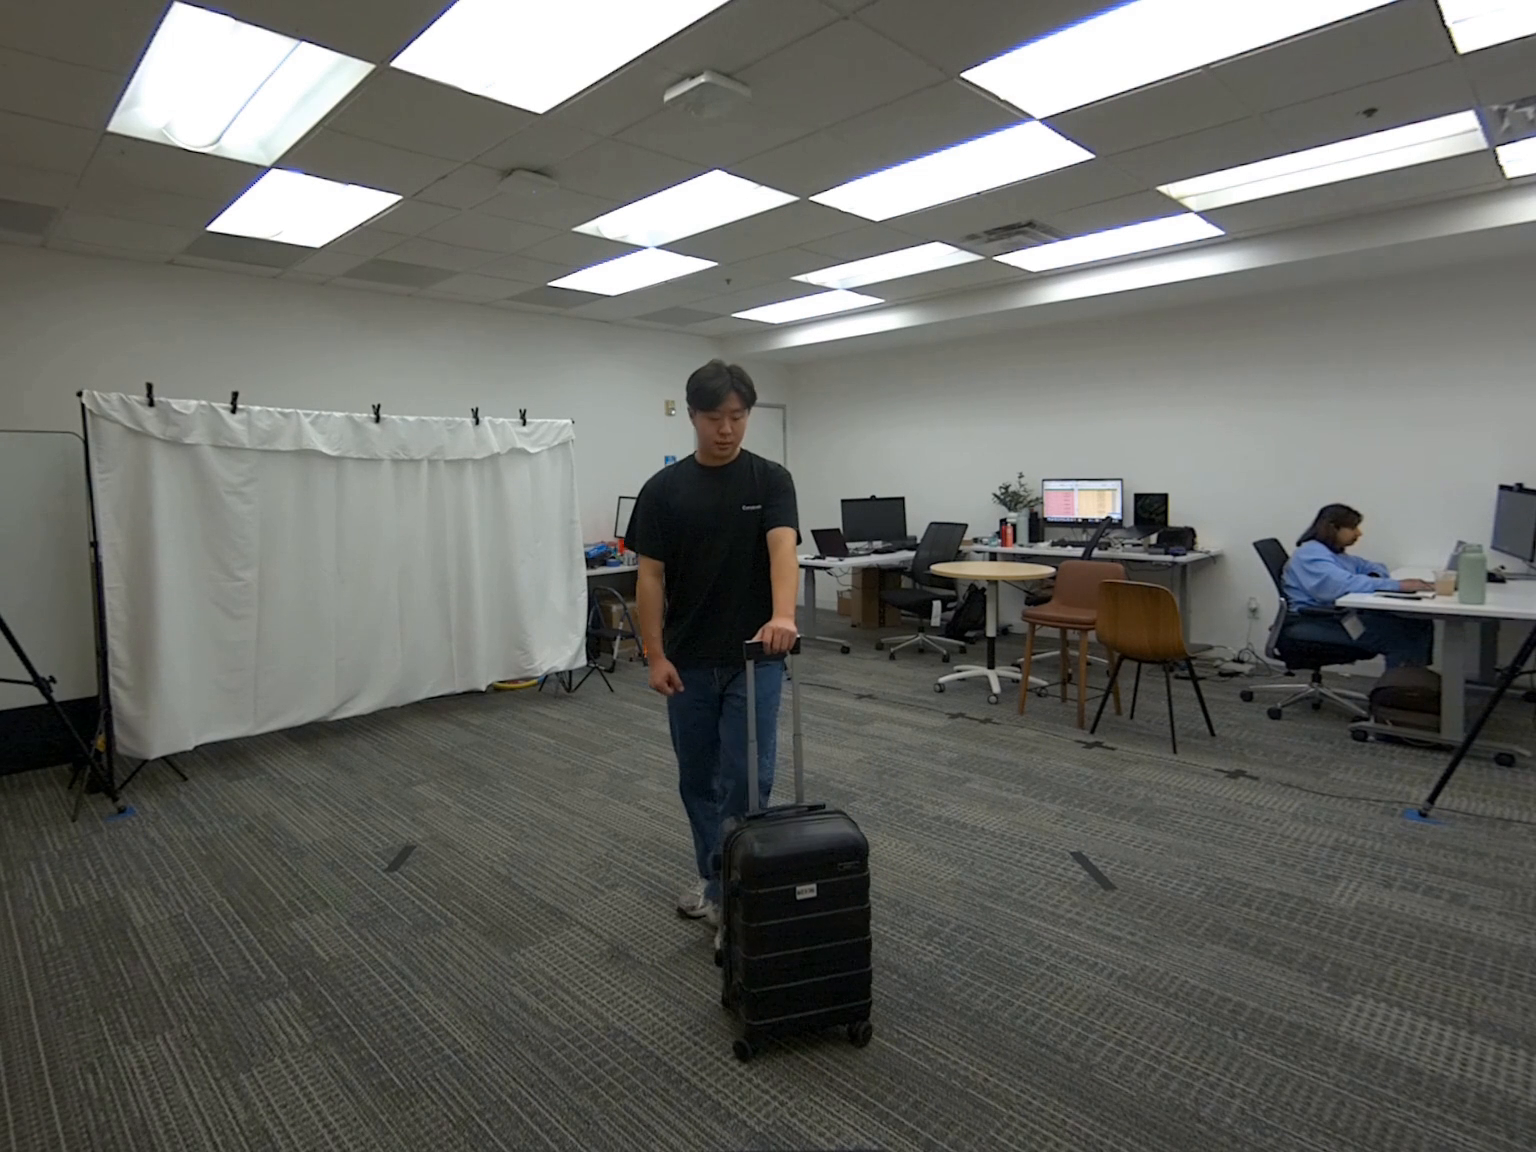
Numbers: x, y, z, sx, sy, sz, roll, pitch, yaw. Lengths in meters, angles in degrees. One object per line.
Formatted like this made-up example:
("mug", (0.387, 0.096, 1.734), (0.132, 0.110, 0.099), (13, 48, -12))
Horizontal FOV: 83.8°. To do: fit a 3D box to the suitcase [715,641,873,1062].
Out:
("suitcase", (0.067, 0.677, 2.158), (0.380, 0.975, 0.261), (-2, 4, -12))
